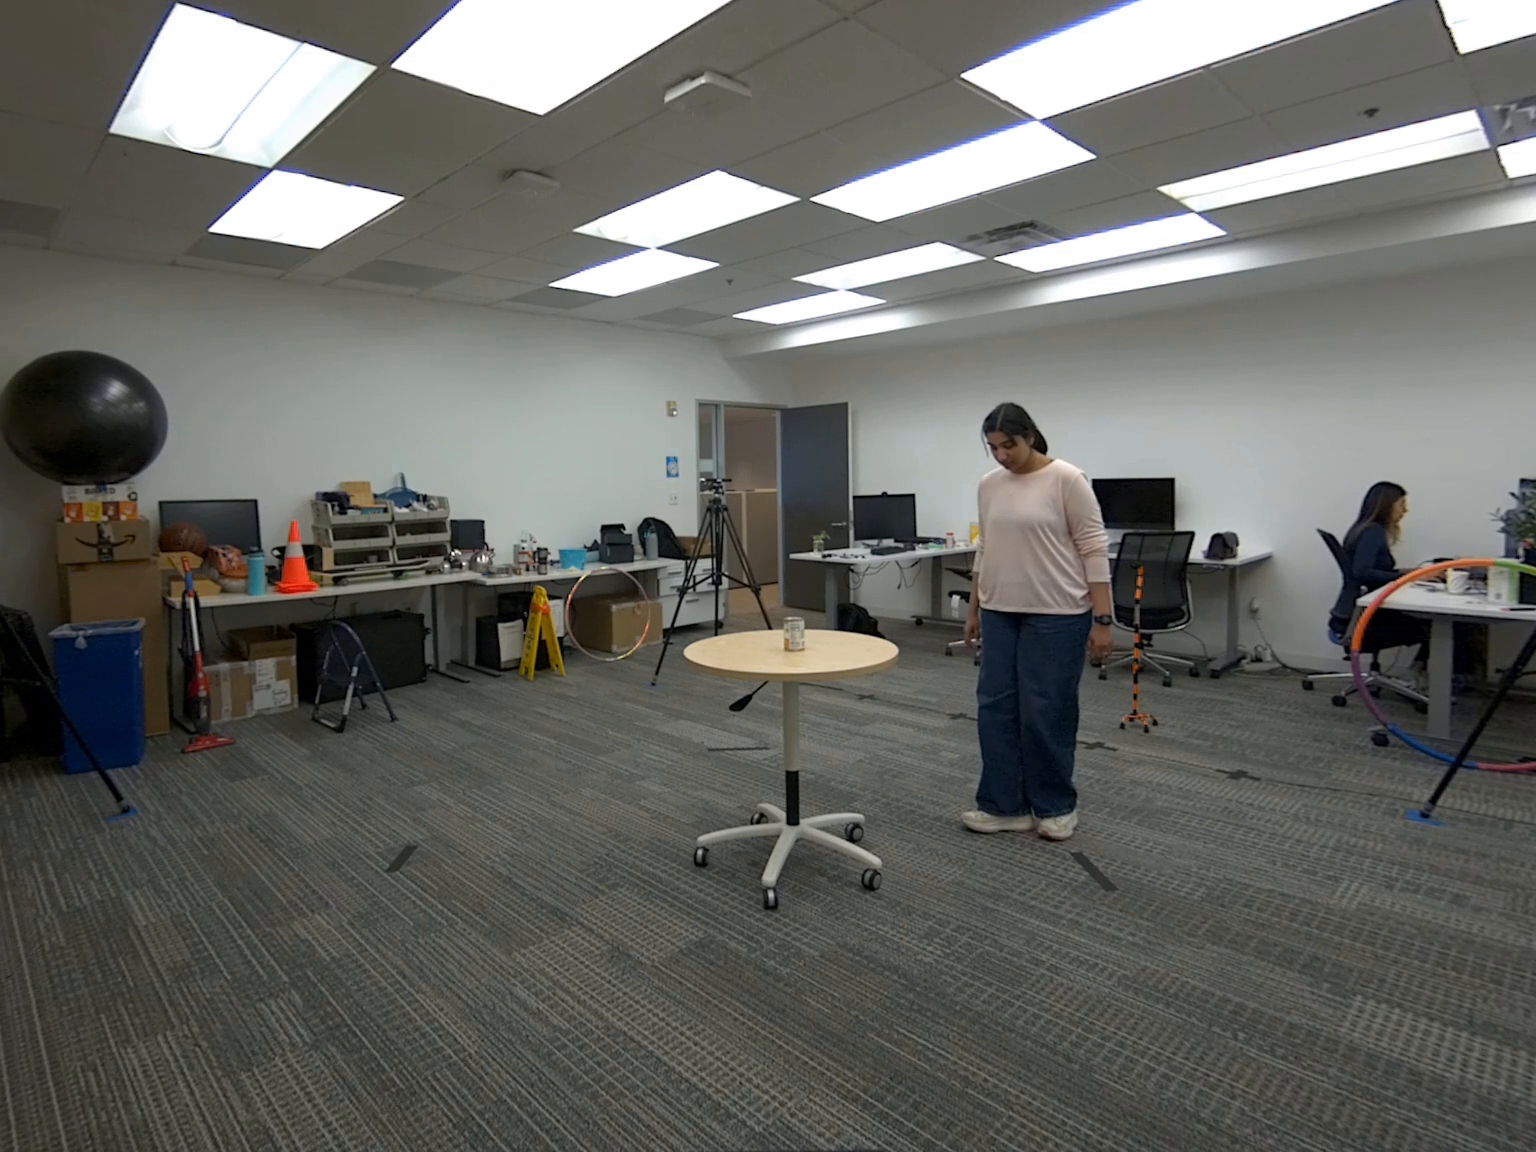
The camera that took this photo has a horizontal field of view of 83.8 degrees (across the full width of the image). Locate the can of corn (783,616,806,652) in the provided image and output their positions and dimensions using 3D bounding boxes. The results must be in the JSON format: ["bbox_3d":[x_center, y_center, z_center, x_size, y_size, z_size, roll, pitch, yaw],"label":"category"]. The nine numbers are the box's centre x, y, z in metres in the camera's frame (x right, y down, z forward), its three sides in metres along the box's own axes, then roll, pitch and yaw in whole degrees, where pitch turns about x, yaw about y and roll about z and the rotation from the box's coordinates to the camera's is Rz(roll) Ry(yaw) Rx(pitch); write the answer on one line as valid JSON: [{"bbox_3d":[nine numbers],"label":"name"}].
[{"bbox_3d":[0.097,0.209,3.047,0.074,0.111,0.074,-1,3,-2],"label":"can of corn"}]
